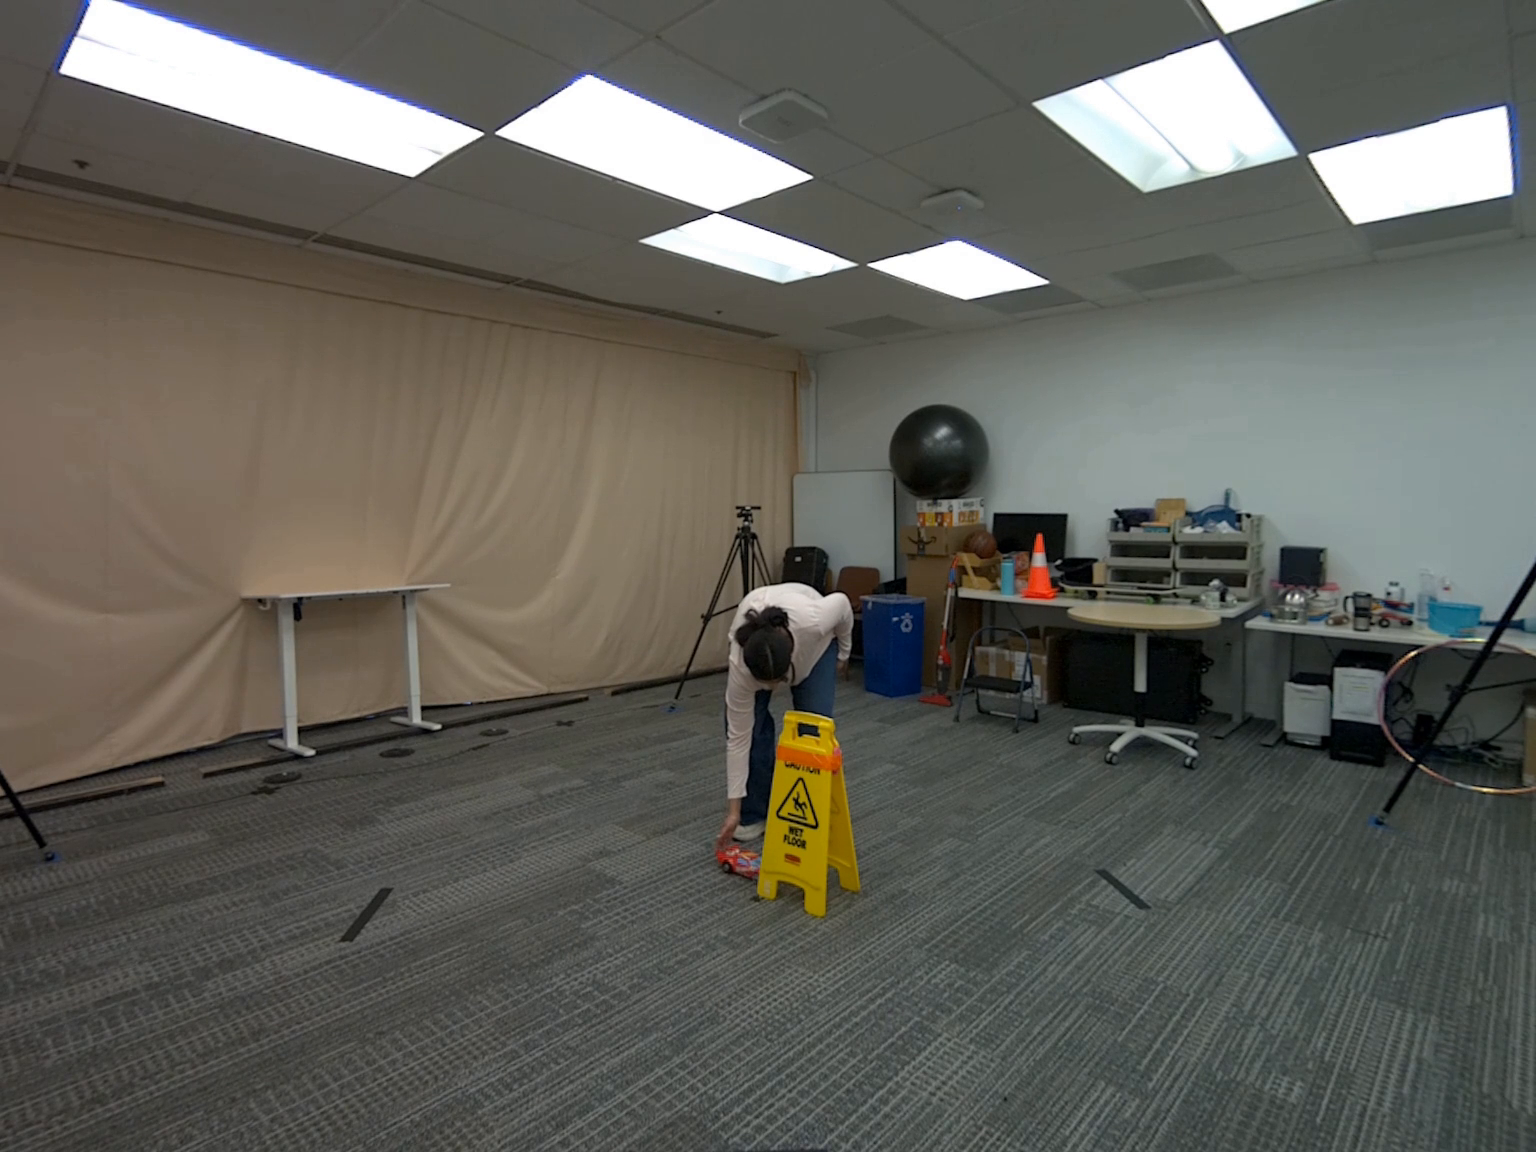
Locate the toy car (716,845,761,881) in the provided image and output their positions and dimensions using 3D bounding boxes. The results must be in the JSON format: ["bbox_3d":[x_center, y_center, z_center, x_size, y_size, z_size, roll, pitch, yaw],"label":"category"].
[{"bbox_3d":[-0.077,1.091,3.193,0.264,0.083,0.126,18,14,39],"label":"toy car"}]
